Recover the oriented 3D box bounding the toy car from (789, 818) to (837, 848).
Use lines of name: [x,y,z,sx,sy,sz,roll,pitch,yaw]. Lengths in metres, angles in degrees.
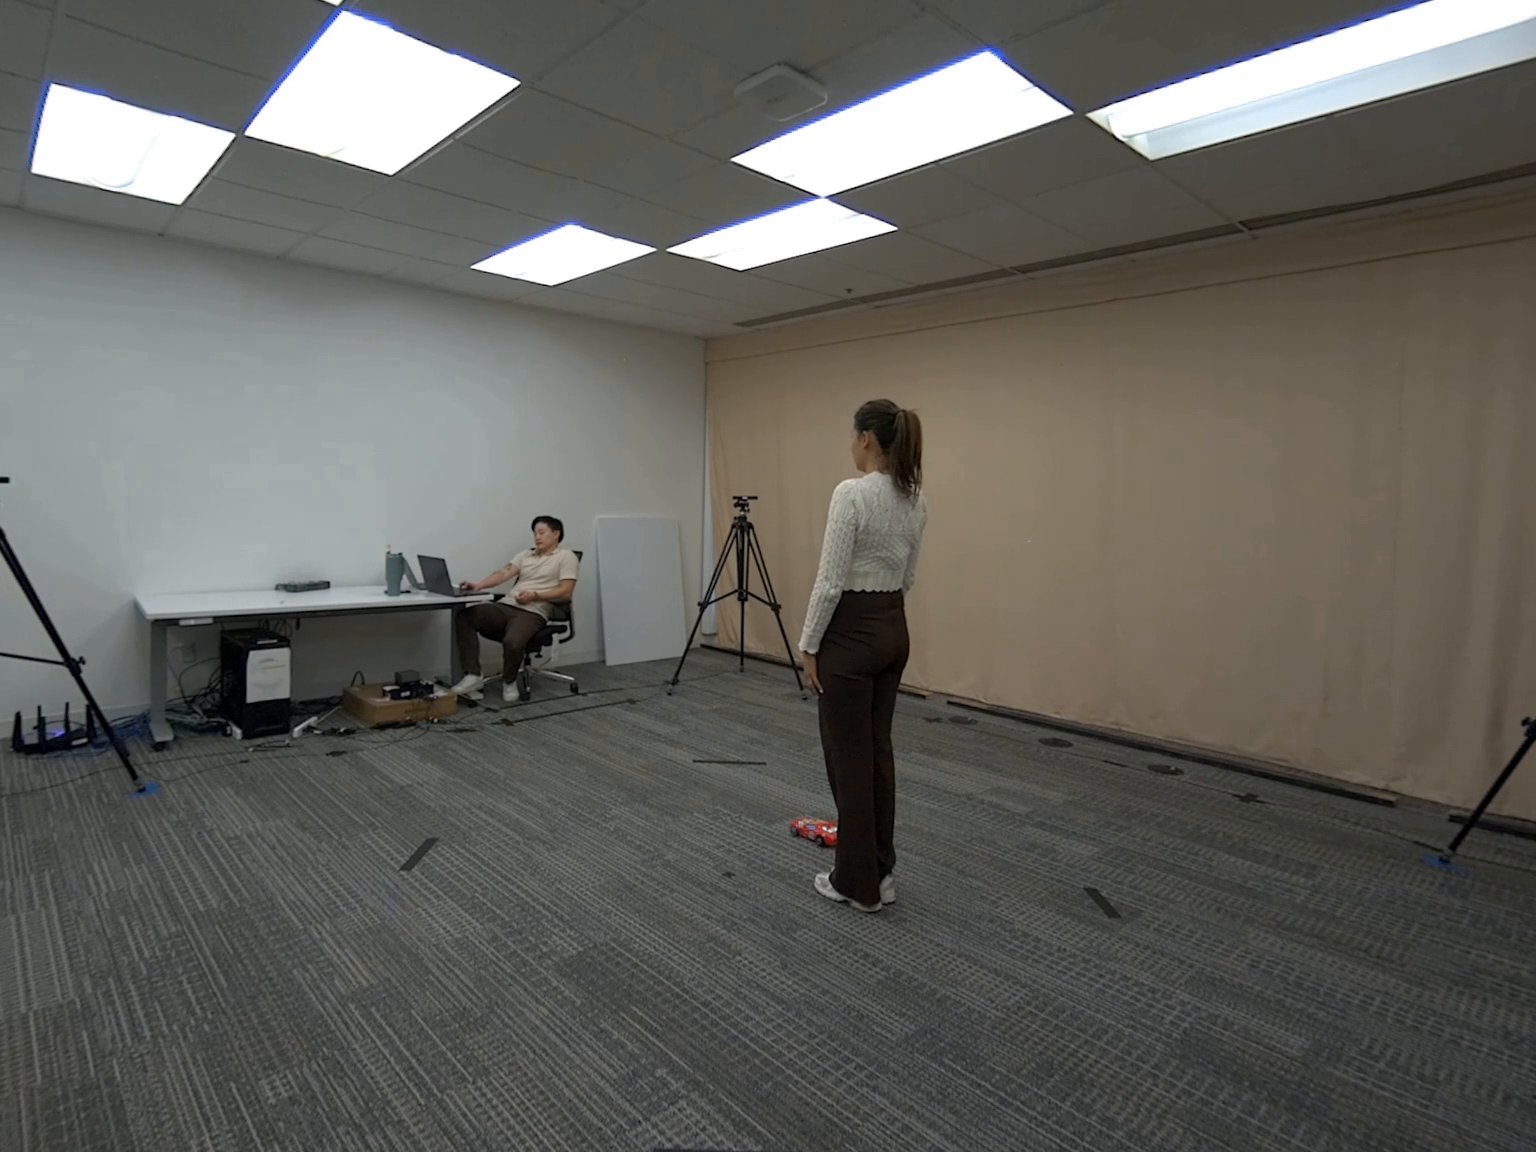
toy car: [0.195,1.052,3.447,0.127,0.083,0.259,-1,-5,-43]
